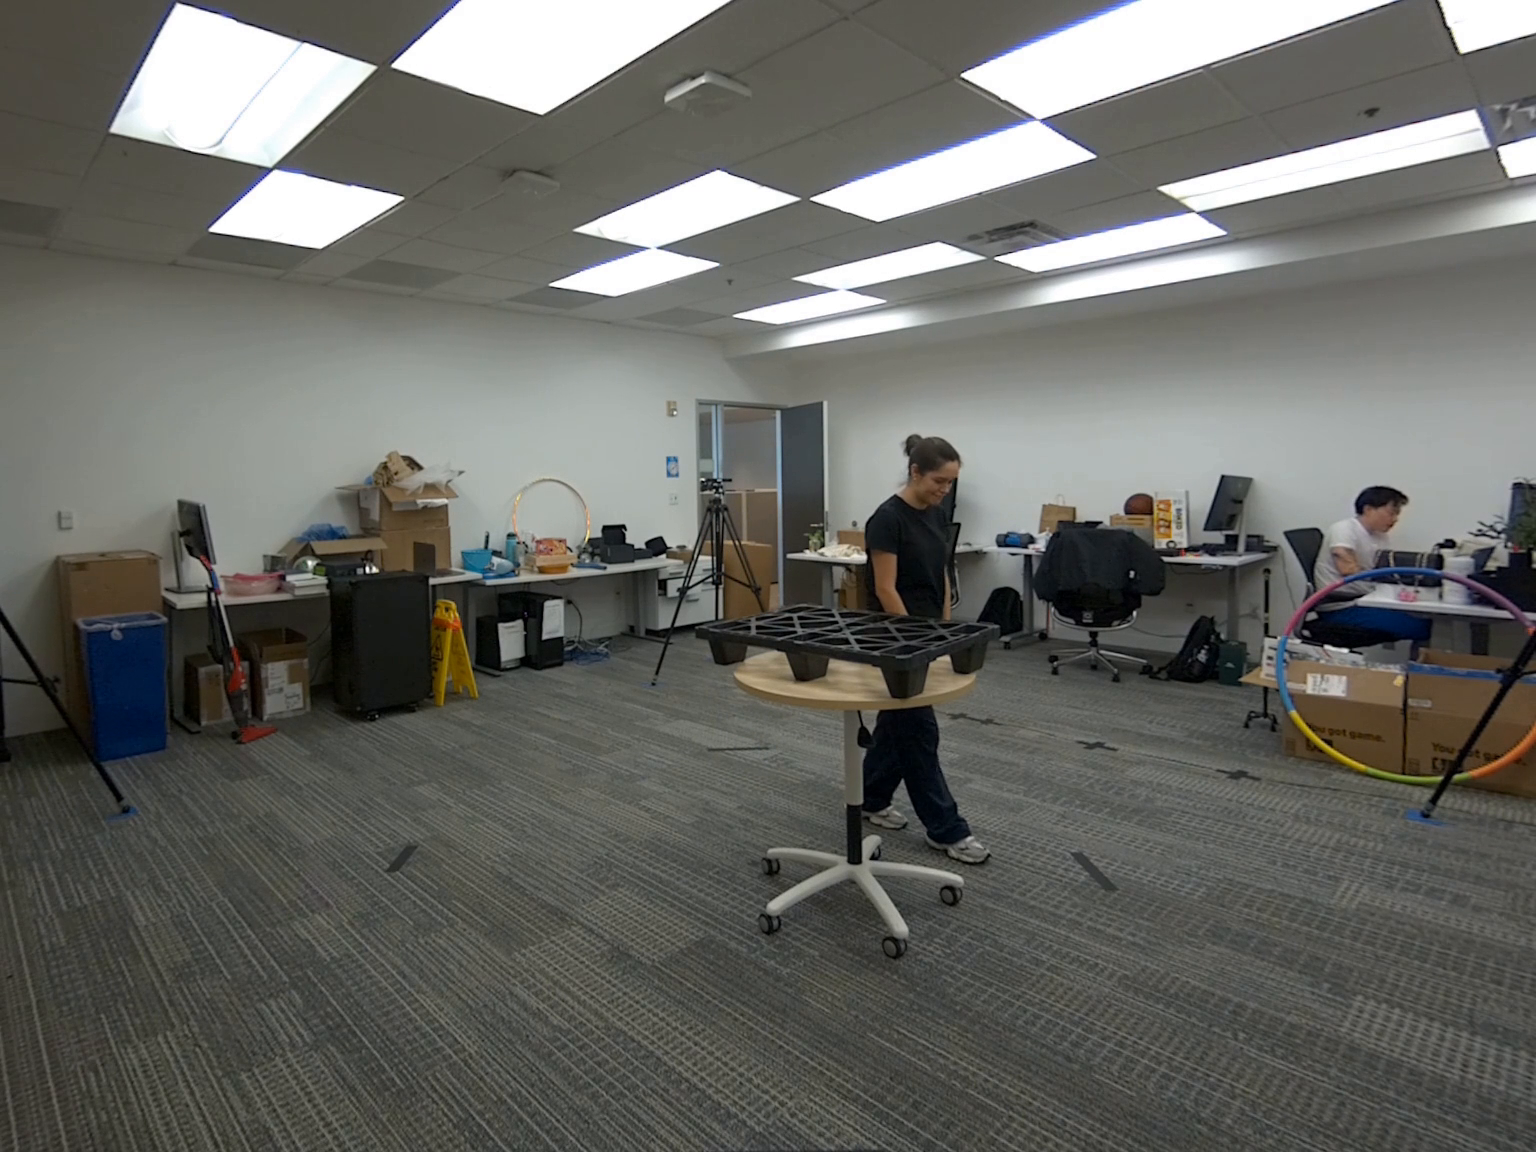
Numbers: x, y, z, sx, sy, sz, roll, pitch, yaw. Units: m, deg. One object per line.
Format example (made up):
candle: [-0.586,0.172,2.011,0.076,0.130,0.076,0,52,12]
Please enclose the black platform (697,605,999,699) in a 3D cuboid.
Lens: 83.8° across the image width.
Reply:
black platform: [0.251,0.231,2.787,0.830,0.142,0.590,4,9,41]
